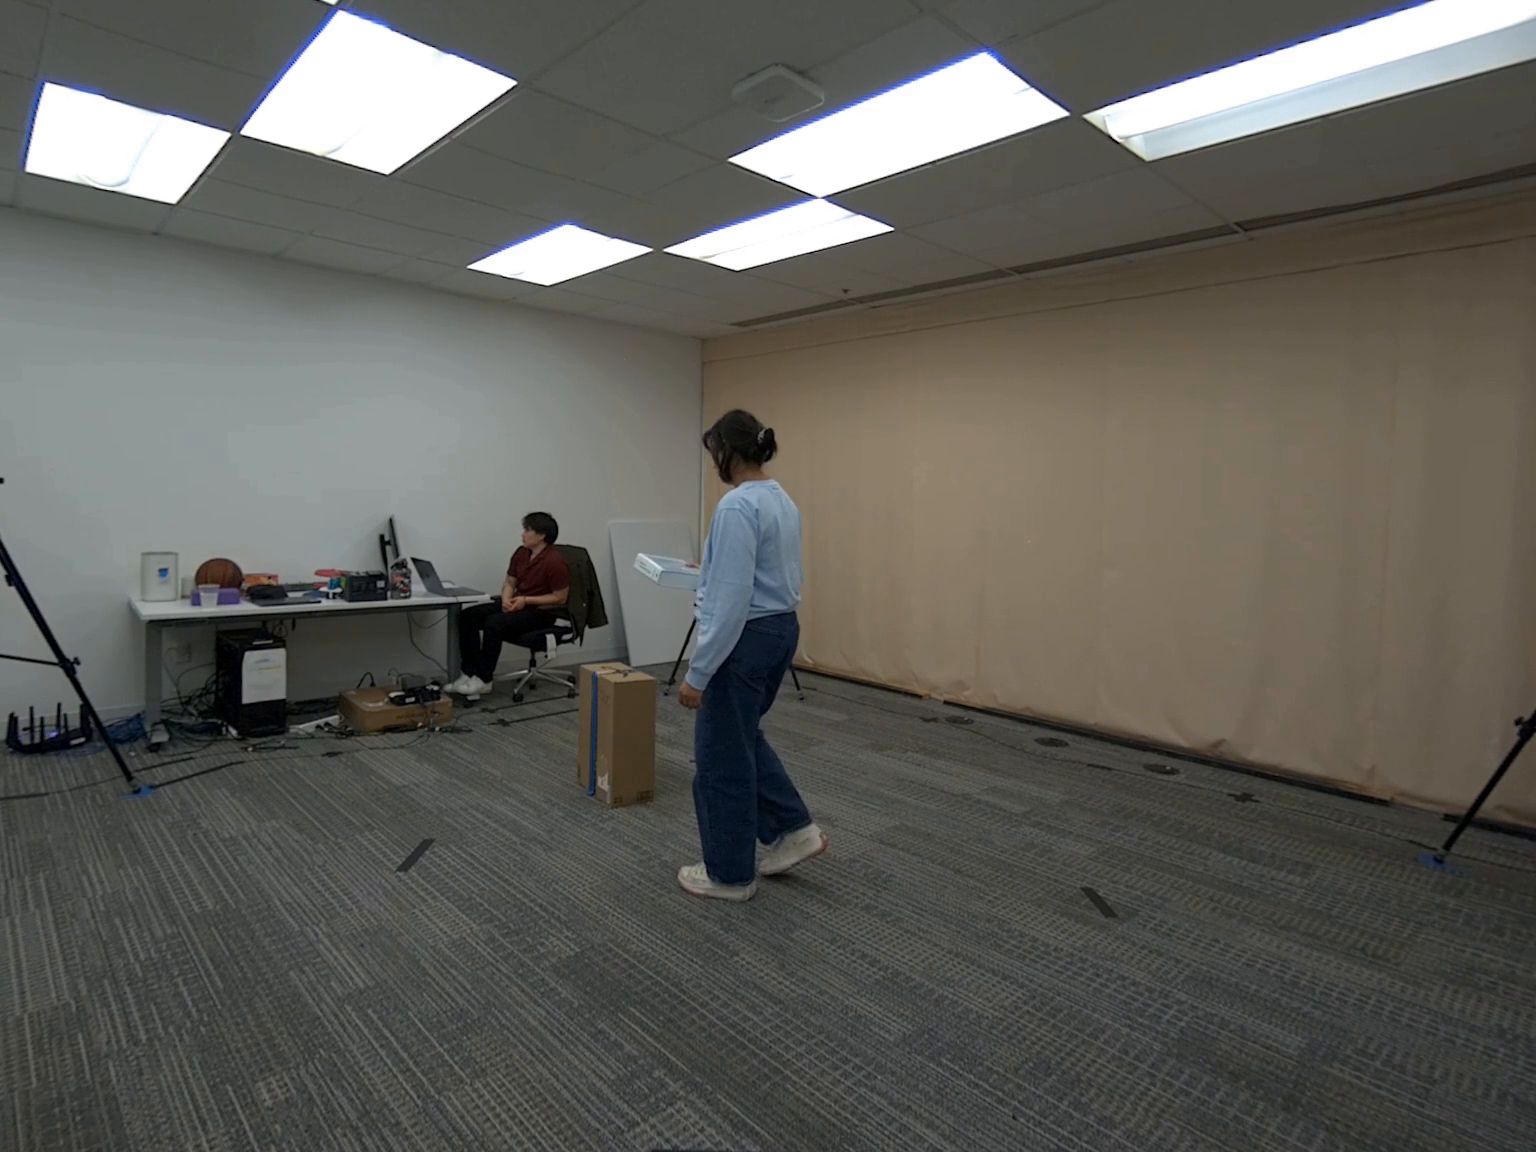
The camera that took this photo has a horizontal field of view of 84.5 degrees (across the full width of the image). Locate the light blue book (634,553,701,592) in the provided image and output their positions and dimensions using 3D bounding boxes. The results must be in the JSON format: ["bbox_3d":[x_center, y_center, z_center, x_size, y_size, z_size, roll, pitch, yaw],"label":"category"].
[{"bbox_3d":[-0.358,-0.015,3.059,0.187,0.059,0.267,9,9,-25],"label":"light blue book"}]
